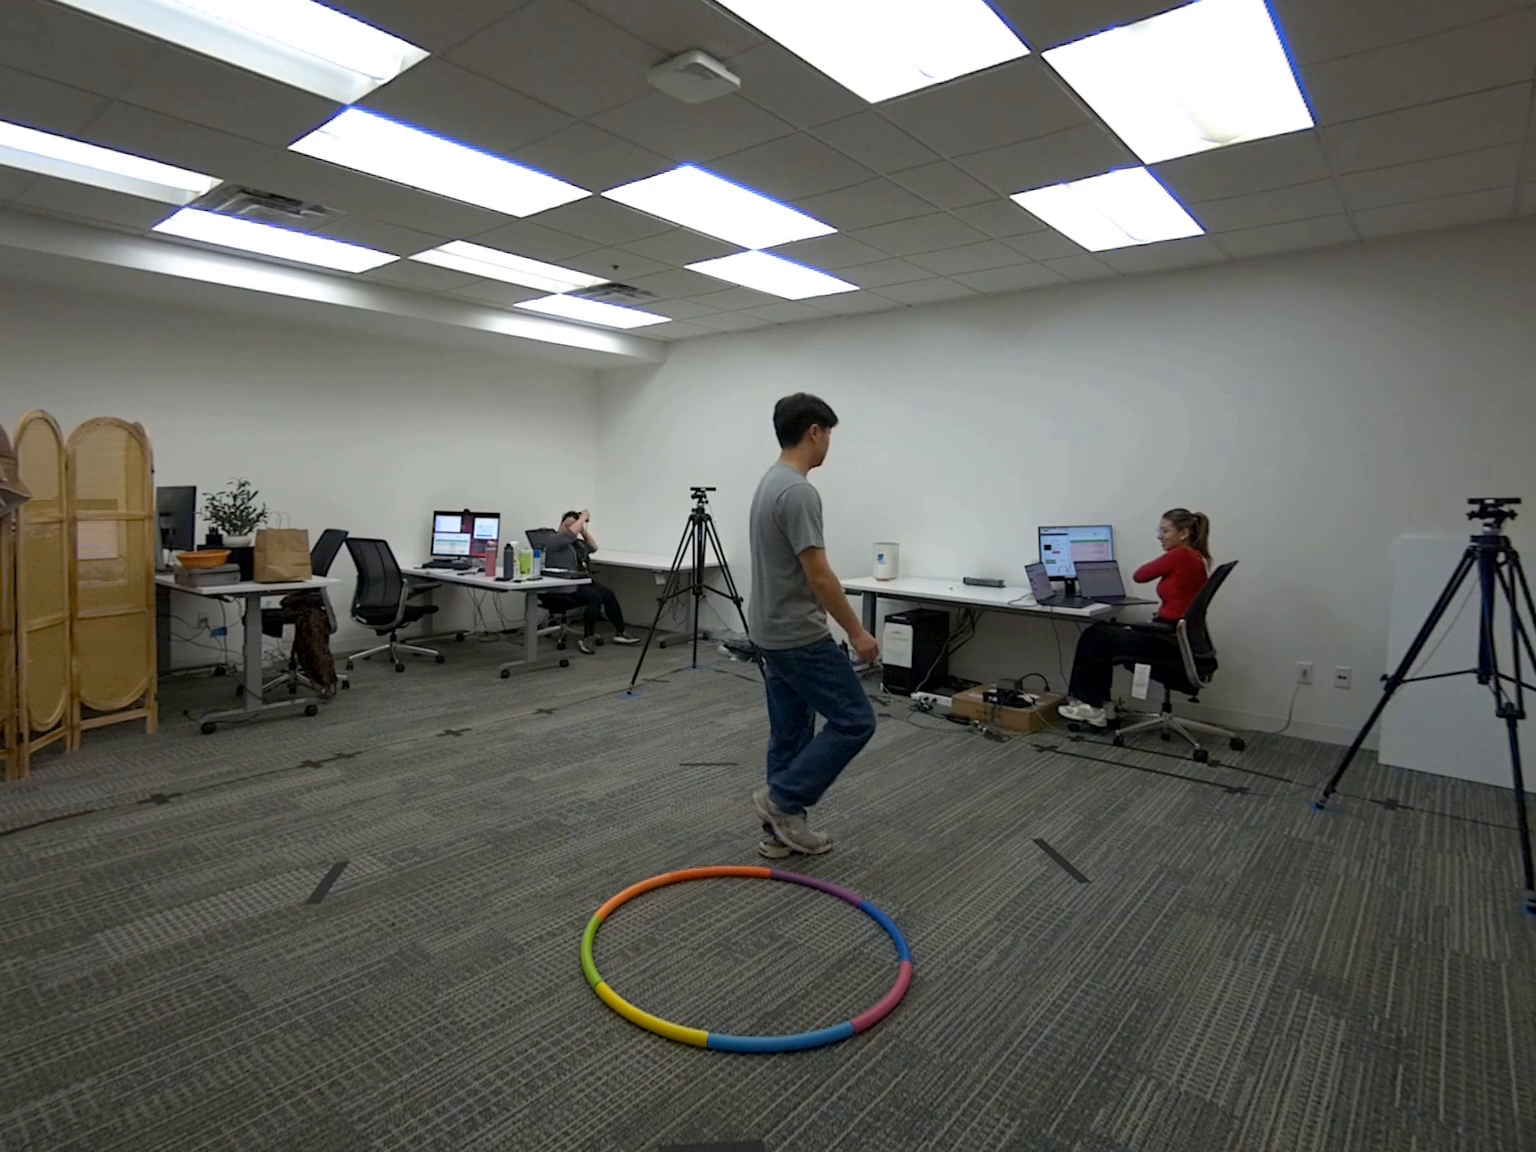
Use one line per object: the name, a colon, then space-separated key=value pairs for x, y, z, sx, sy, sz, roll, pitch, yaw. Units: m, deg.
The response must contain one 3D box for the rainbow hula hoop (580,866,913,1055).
rainbow hula hoop: x=-0.077 y=1.089 z=2.580 sx=0.978 sy=0.035 sz=0.984 roll=1 pitch=6 yaw=-2
